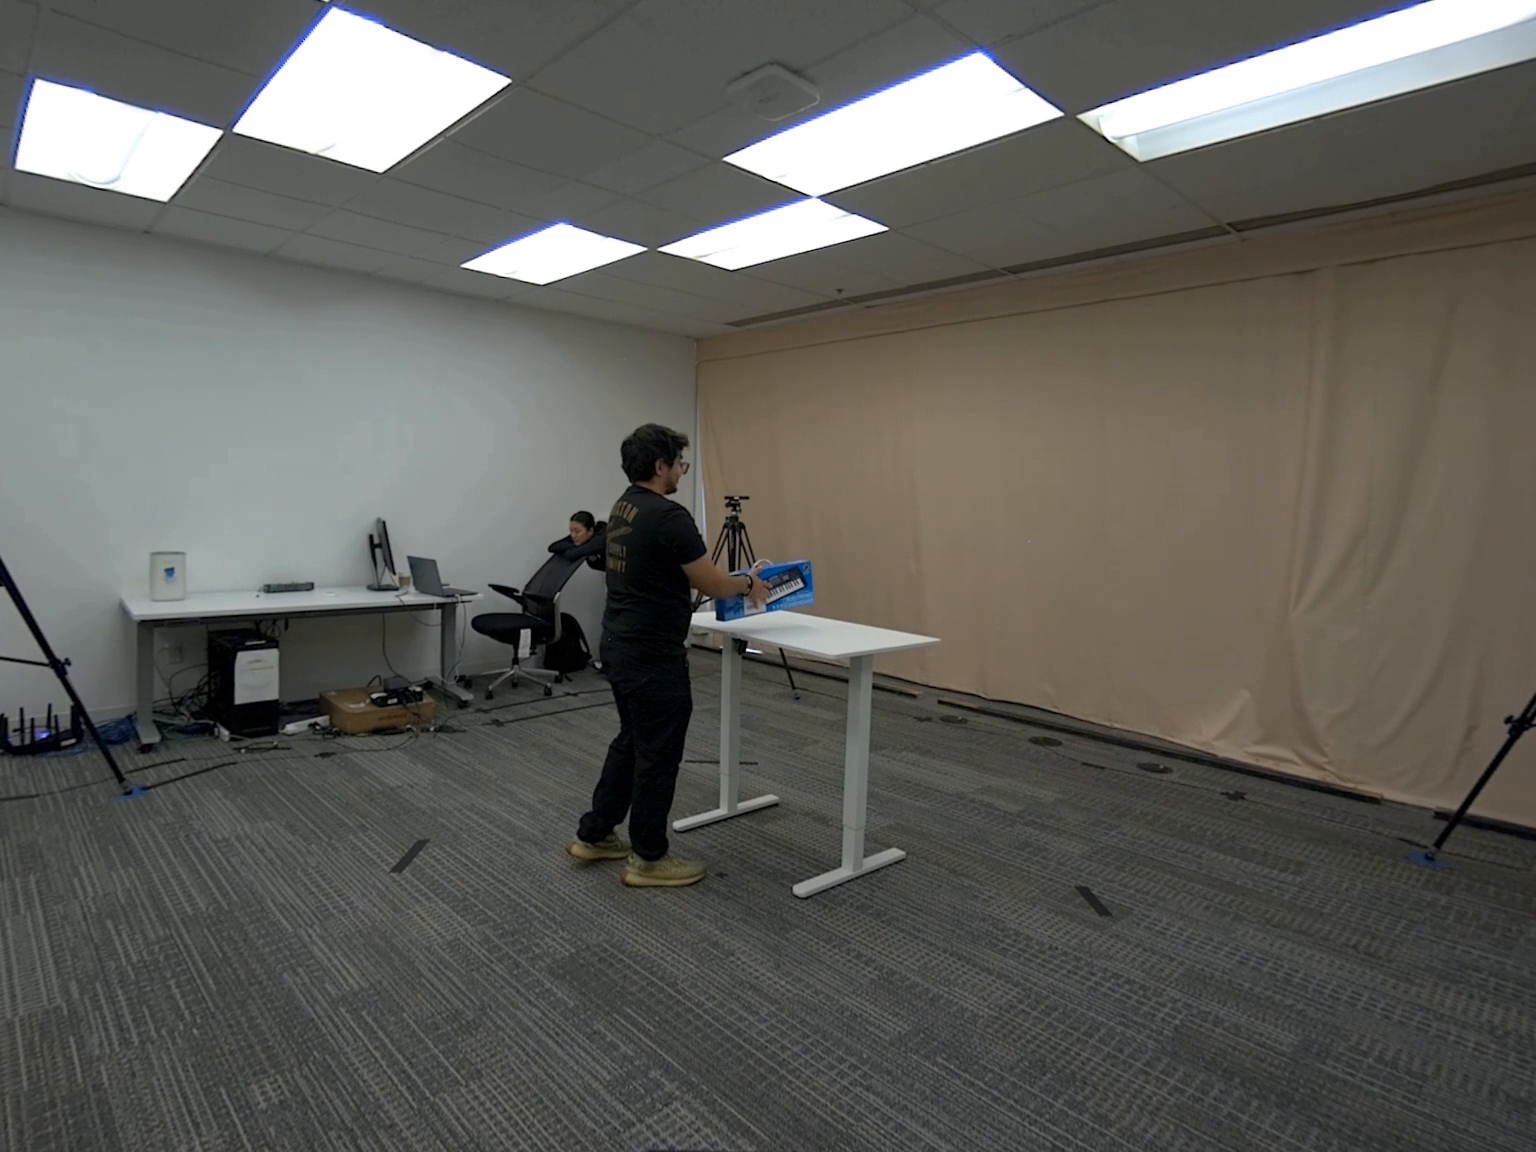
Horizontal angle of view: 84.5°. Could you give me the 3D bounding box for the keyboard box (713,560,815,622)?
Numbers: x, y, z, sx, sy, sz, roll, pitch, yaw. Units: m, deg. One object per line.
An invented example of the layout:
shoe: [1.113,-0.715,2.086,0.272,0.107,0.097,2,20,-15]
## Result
keyboard box: [-0.017,0.059,3.274,0.429,0.175,0.060,-11,8,-34]
